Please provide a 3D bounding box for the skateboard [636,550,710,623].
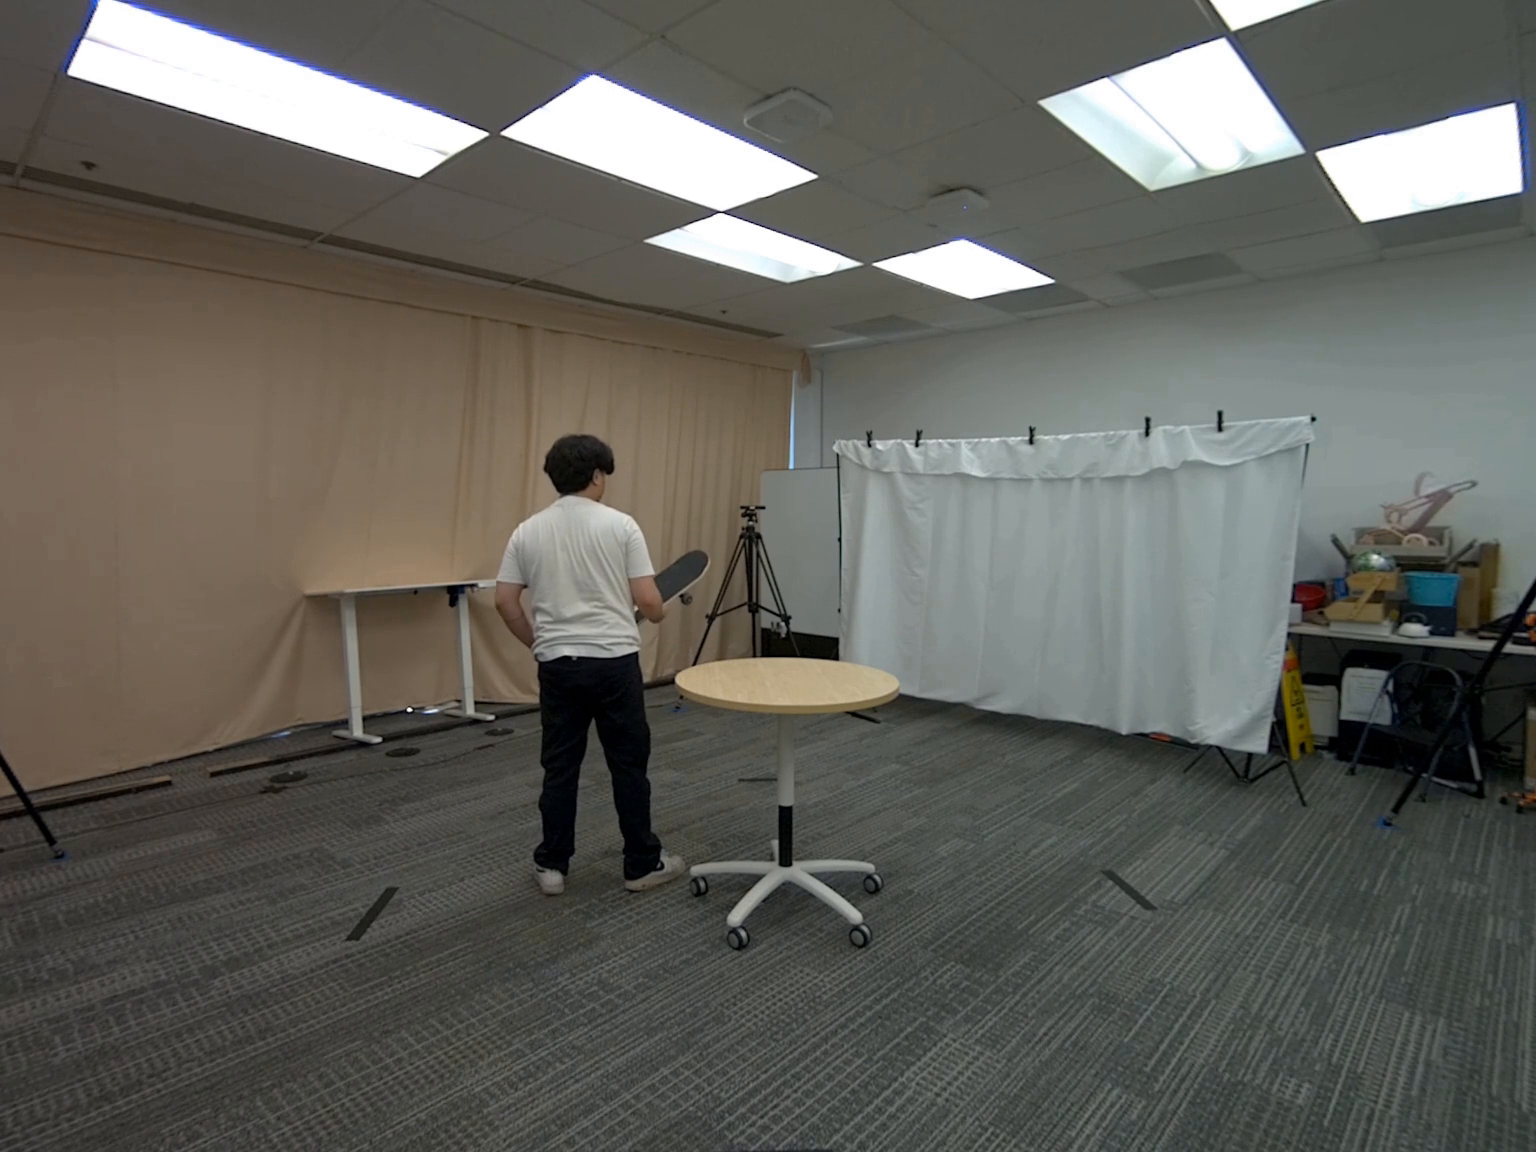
[{"bbox_3d":[-0.531,0.163,3.427,0.777,0.107,0.201,-39,40,-23],"label":"skateboard"}]
